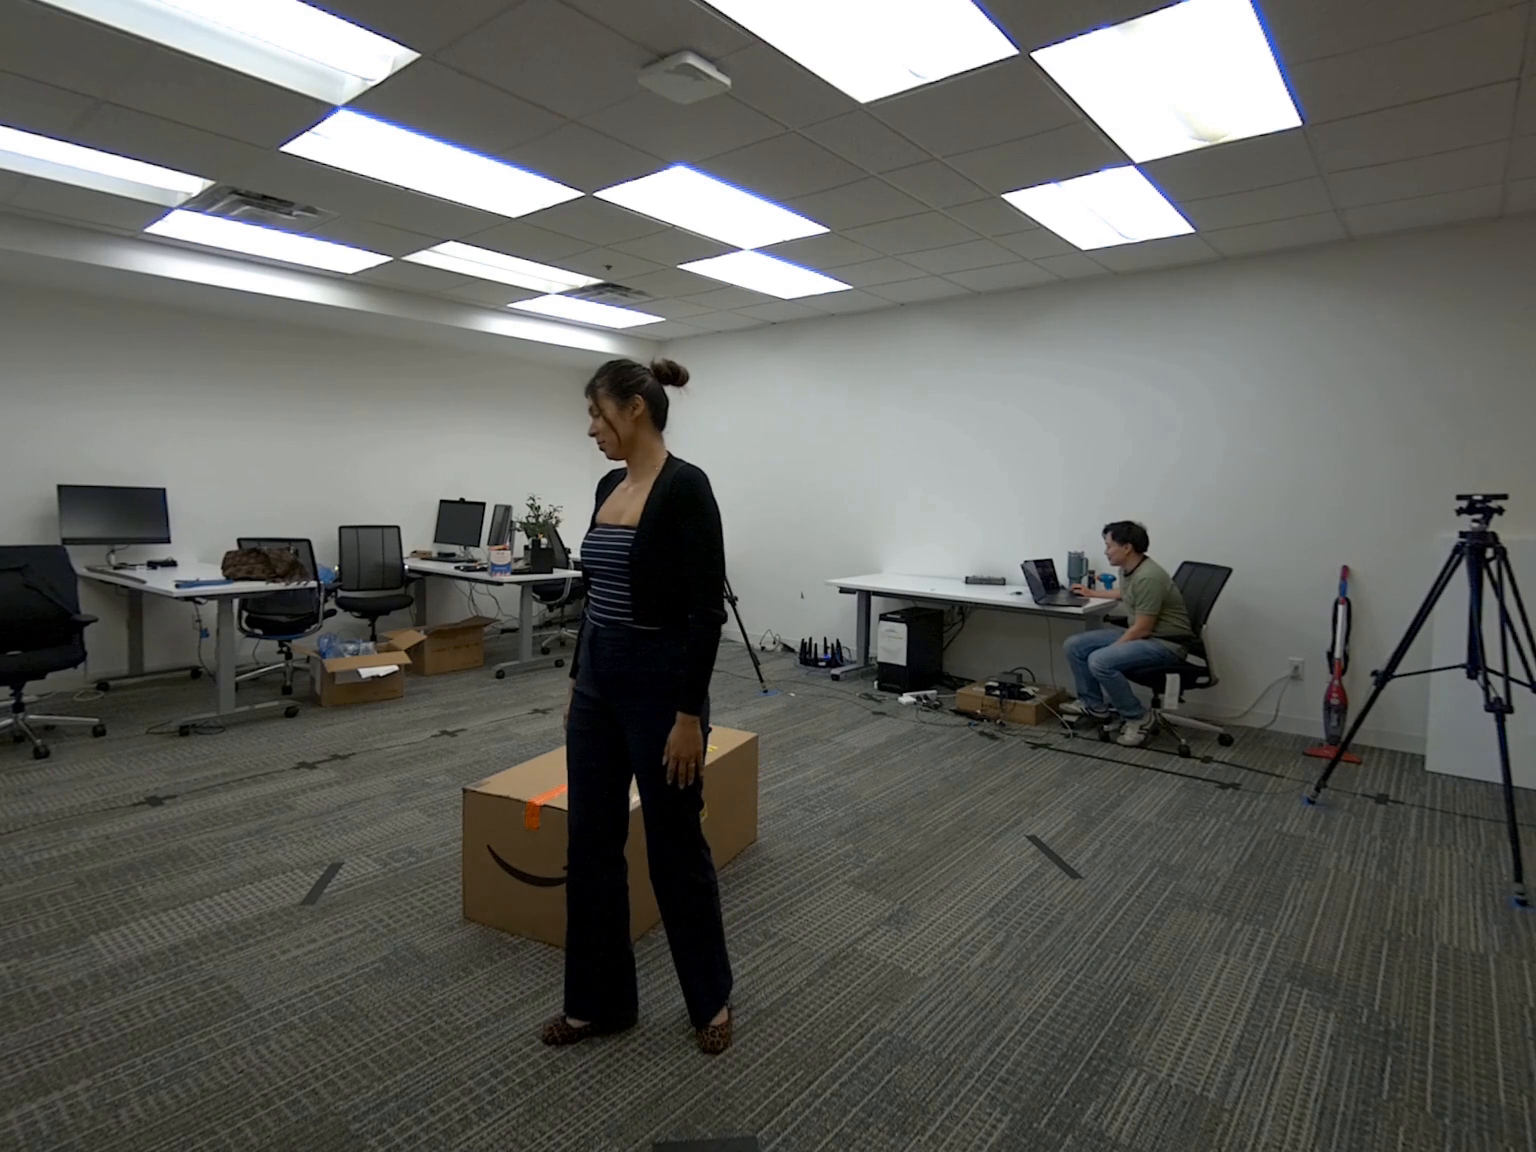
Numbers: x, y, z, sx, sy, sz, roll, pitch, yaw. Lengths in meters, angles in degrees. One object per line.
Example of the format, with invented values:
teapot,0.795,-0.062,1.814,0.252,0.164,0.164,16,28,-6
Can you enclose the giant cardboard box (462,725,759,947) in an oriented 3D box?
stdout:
giant cardboard box,-0.517,0.855,3.038,0.593,0.425,1.003,2,5,25
